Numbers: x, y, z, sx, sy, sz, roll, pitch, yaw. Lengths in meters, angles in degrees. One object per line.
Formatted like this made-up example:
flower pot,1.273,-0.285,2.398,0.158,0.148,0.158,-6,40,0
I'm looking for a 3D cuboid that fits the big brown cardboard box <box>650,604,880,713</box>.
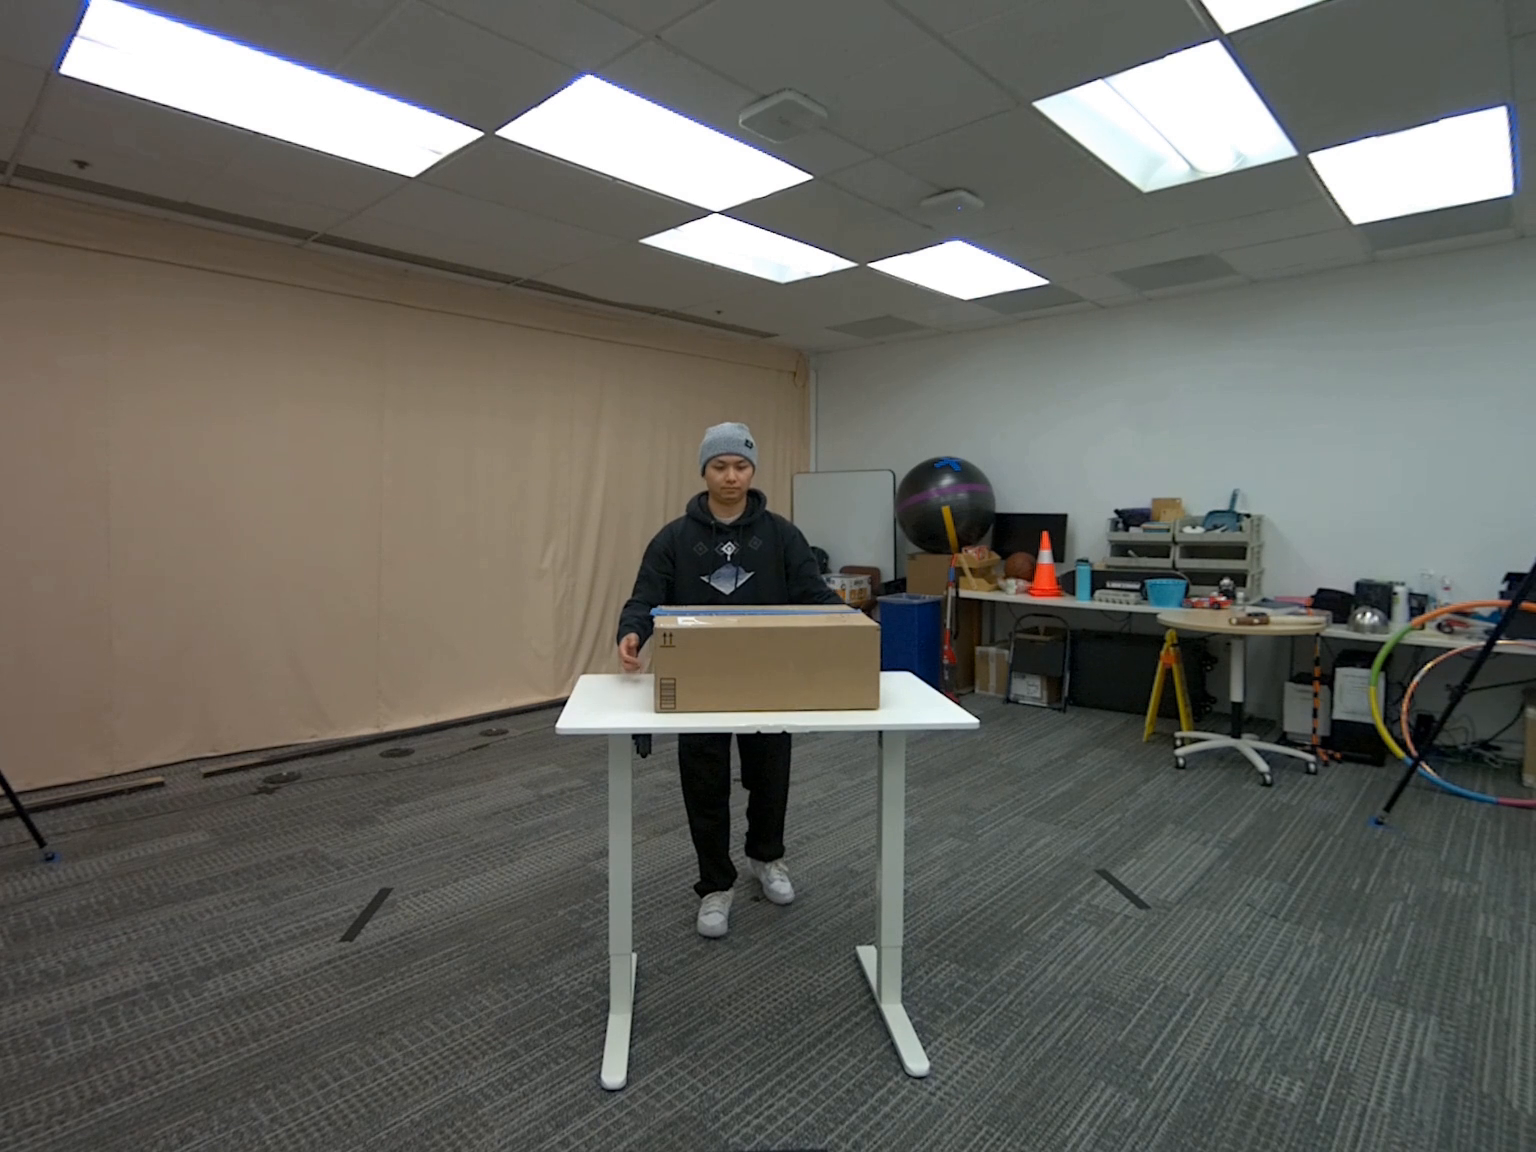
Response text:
big brown cardboard box,-0.028,0.212,2.300,0.586,0.232,0.421,1,4,-5
